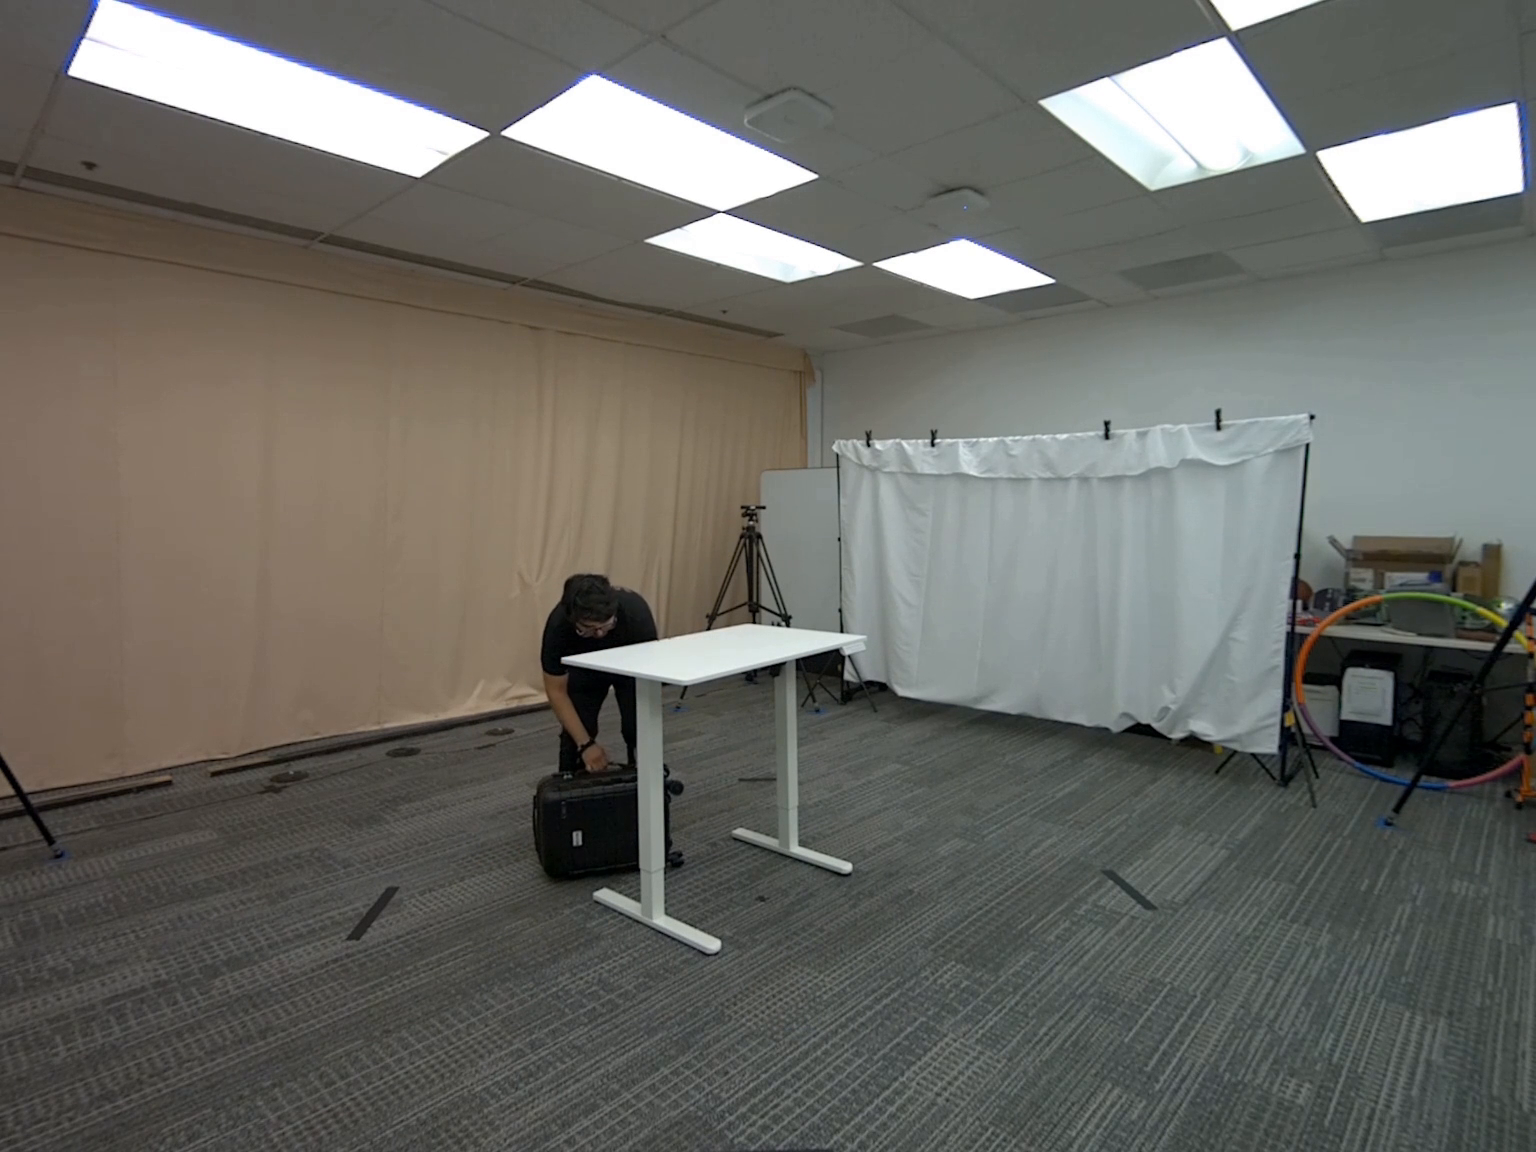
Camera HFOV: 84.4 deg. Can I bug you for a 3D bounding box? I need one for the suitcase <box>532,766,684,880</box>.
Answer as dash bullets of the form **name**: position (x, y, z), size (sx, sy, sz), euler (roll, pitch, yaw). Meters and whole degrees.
- **suitcase**: position (-0.620, 0.932, 3.249), size (0.539, 0.374, 0.254), euler (-1, 5, -19)
